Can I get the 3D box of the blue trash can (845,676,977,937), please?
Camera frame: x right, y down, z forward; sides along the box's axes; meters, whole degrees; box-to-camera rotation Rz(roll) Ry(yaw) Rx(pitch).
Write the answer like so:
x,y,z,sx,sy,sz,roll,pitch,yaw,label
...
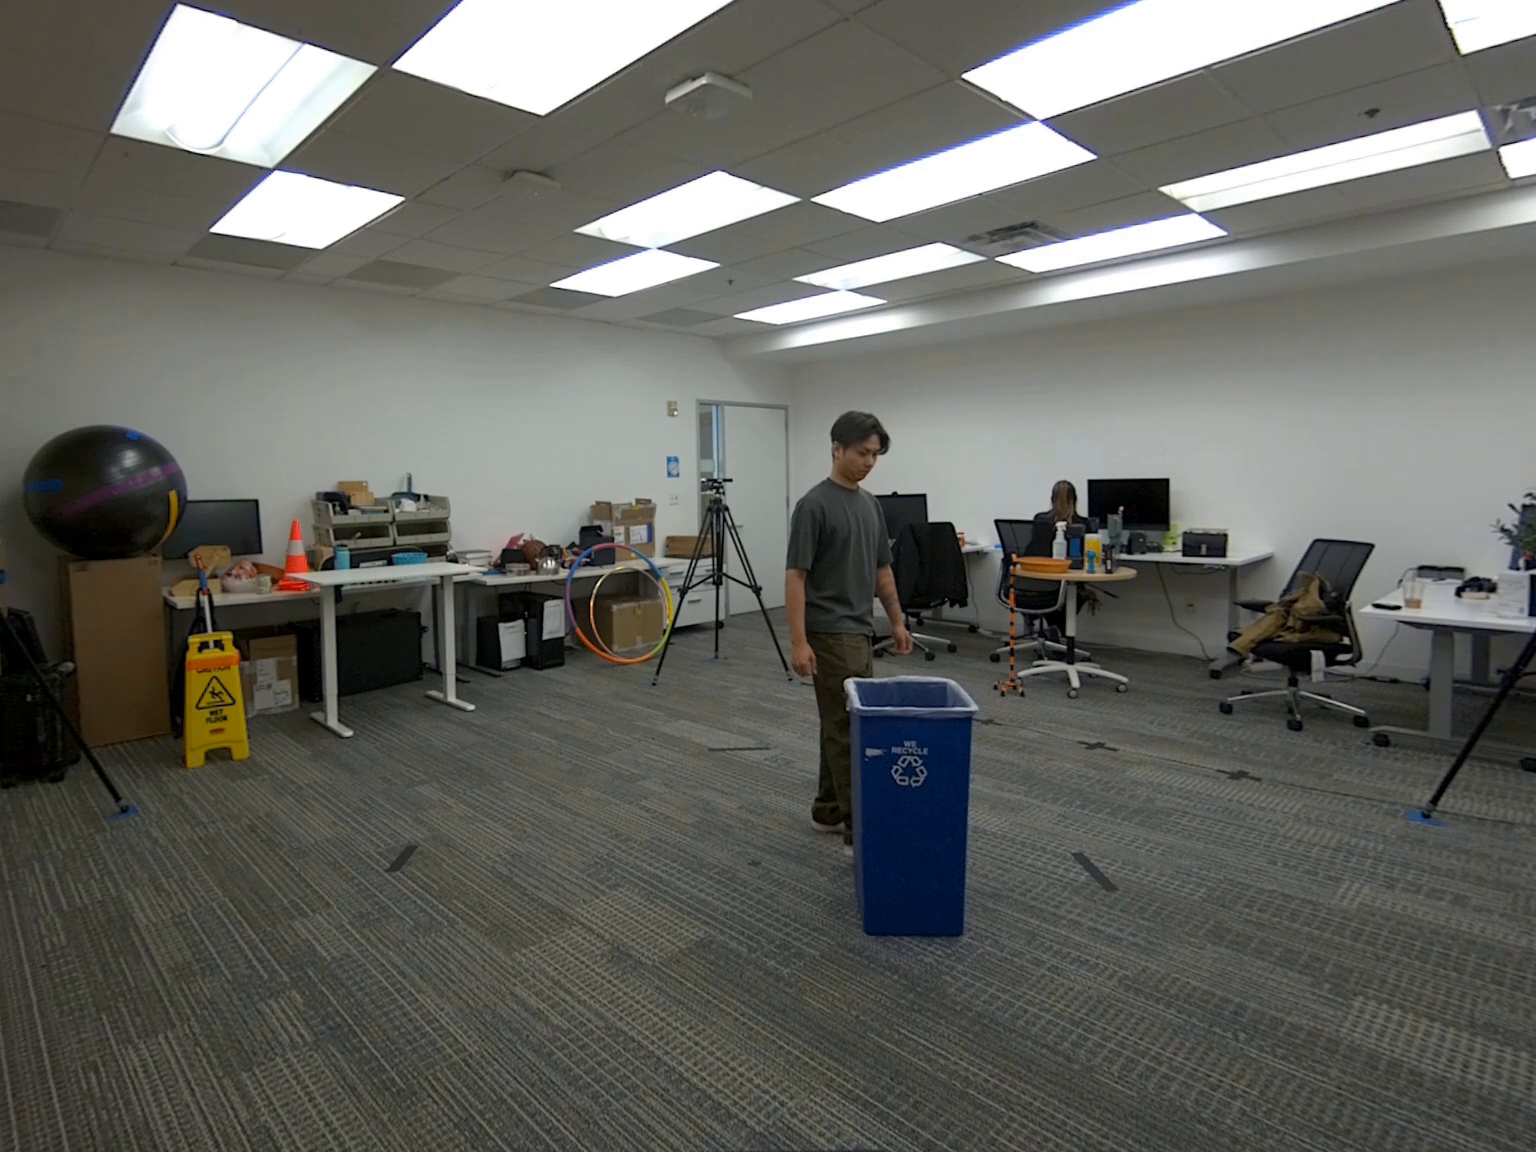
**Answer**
x,y,z,sx,sy,sz,roll,pitch,yaw,label
0.440,0.724,2.723,0.379,0.710,0.375,-1,5,2,blue trash can
